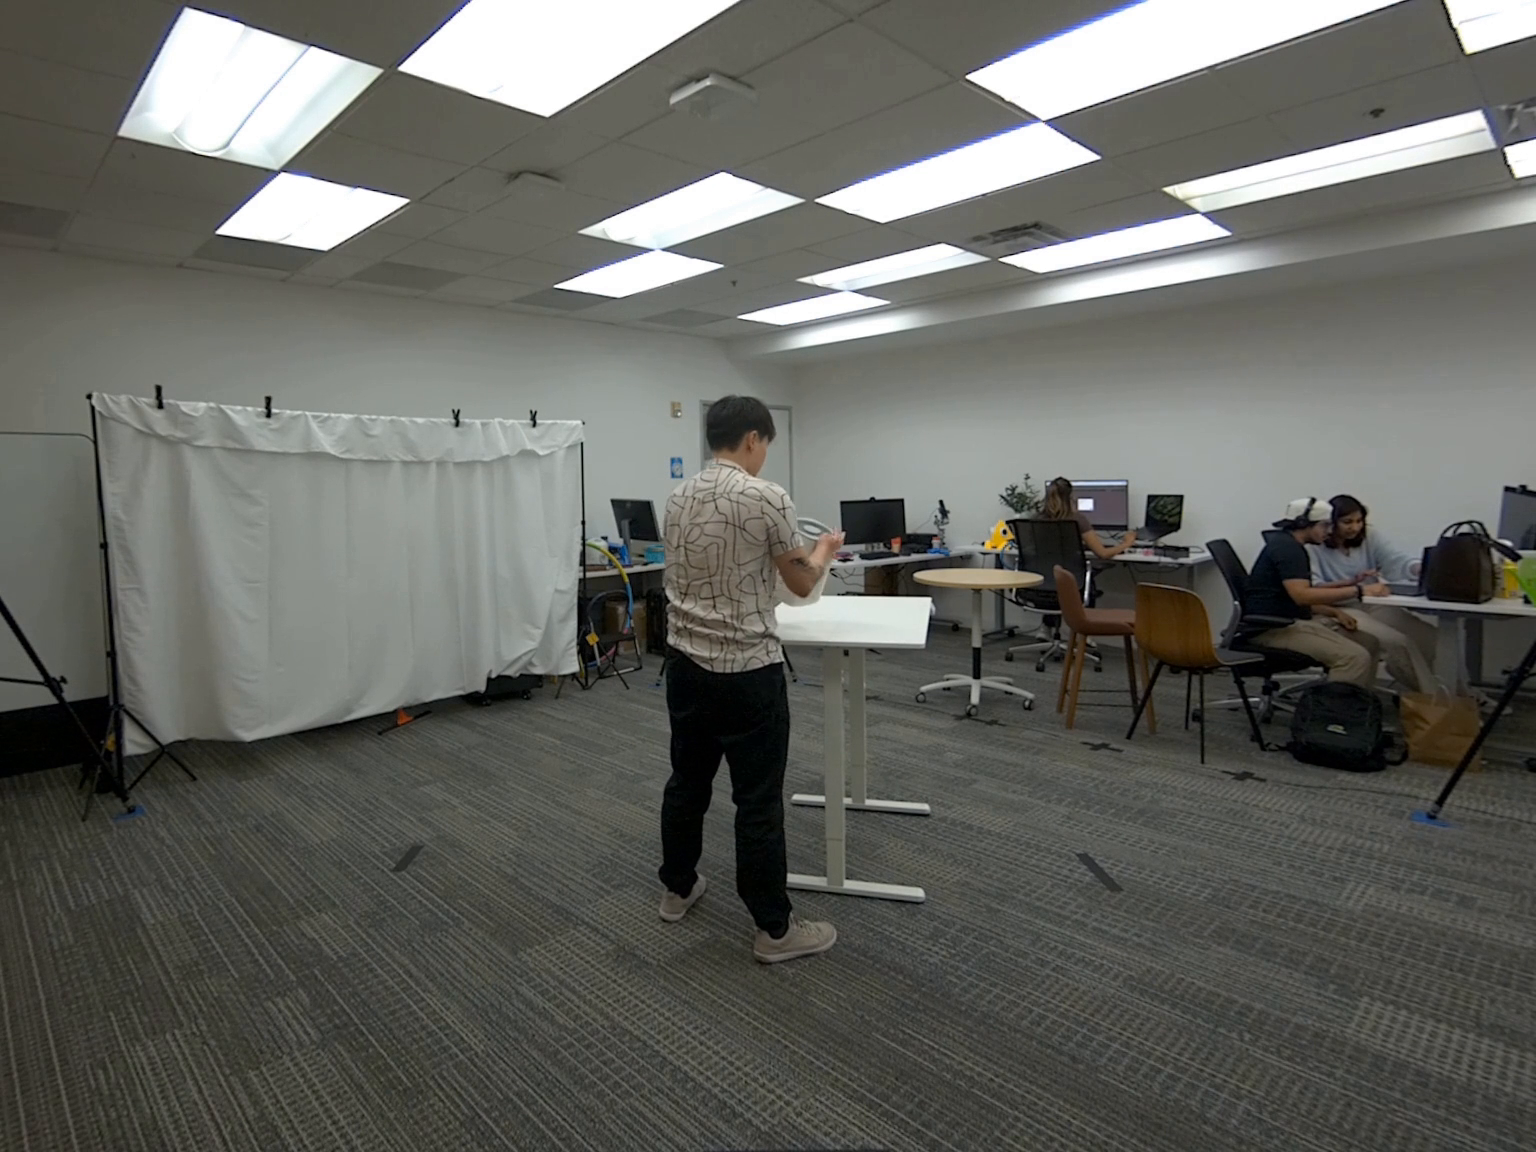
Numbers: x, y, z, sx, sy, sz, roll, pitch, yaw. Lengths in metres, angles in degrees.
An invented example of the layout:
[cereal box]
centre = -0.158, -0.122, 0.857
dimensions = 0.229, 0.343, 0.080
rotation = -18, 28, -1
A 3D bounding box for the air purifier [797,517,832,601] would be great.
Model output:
[air purifier]
centre = 0.120, -0.045, 2.933
dimensions = 0.167, 0.262, 0.178
rotation = -2, 29, -42
